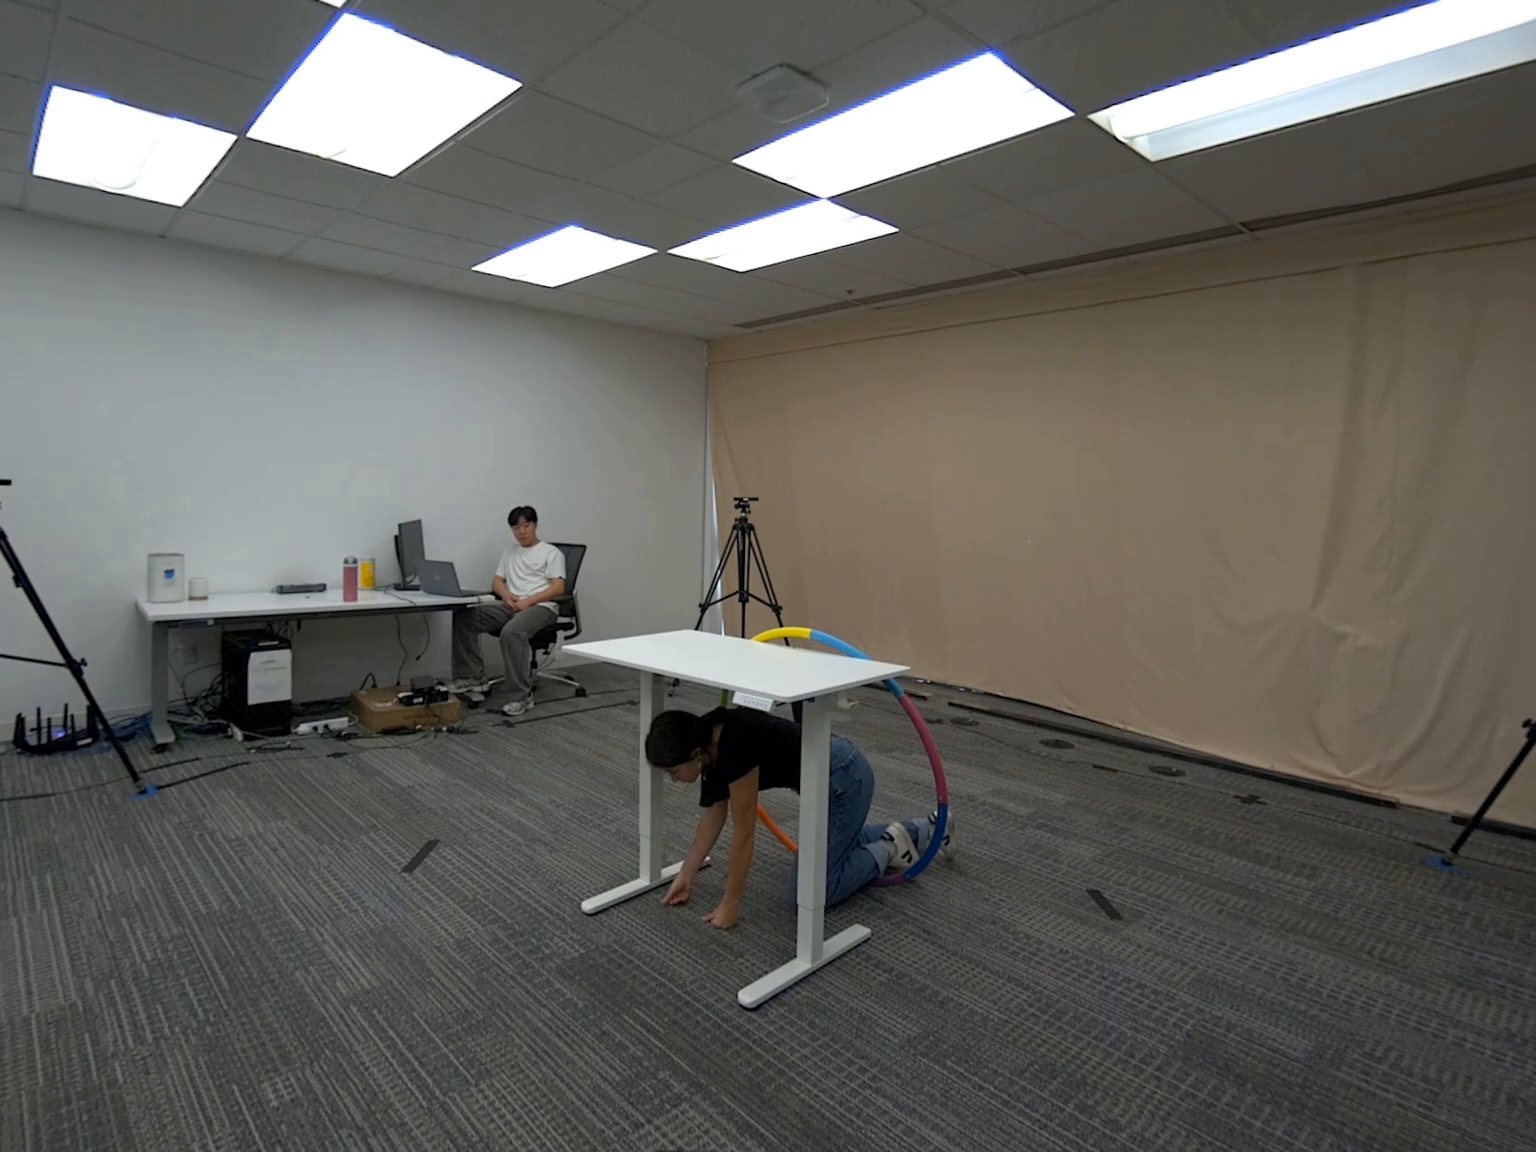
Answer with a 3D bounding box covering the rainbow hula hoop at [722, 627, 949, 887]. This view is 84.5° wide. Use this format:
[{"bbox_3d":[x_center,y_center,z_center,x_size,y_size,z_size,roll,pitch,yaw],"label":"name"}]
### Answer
[{"bbox_3d":[0.184,0.655,2.988,1.004,0.967,0.035,5,19,42],"label":"rainbow hula hoop"}]
